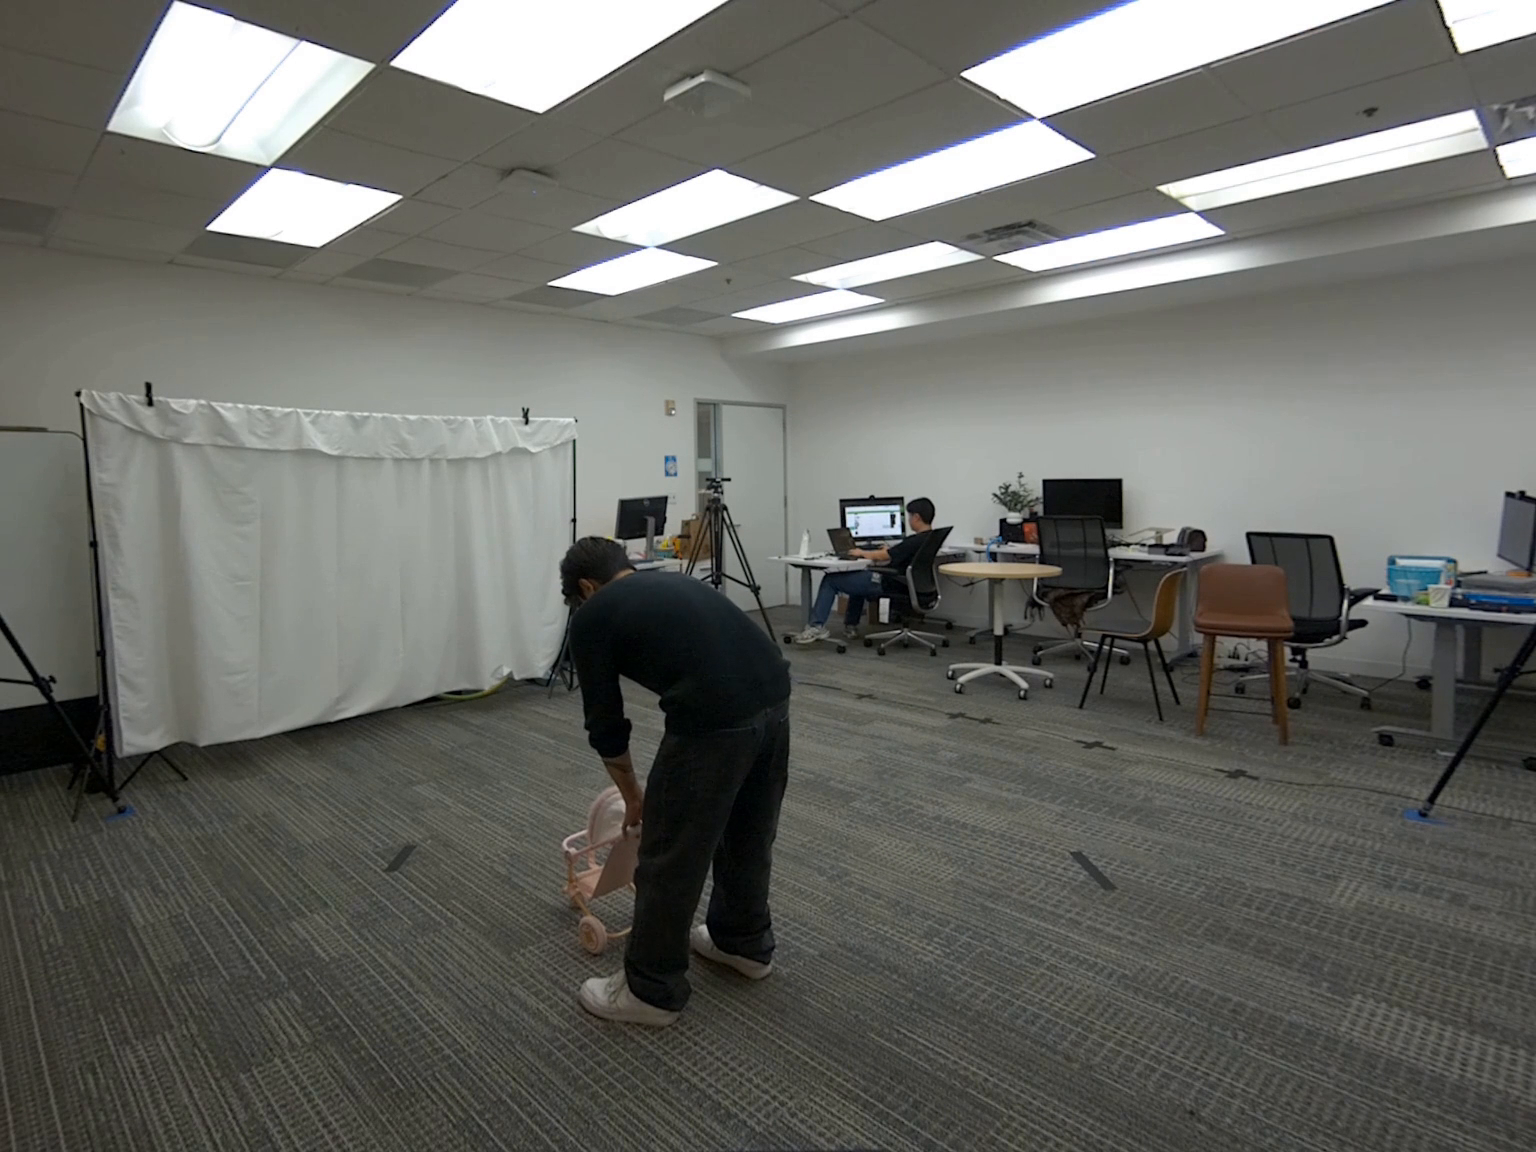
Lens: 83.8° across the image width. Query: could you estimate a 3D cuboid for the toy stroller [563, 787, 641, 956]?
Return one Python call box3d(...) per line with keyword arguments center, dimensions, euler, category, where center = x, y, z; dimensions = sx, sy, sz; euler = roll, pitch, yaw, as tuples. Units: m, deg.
box3d(center=(-0.481, 0.884, 2.656), dimensions=(0.274, 0.529, 0.354), euler=(-4, 23, -43), category="toy stroller")
